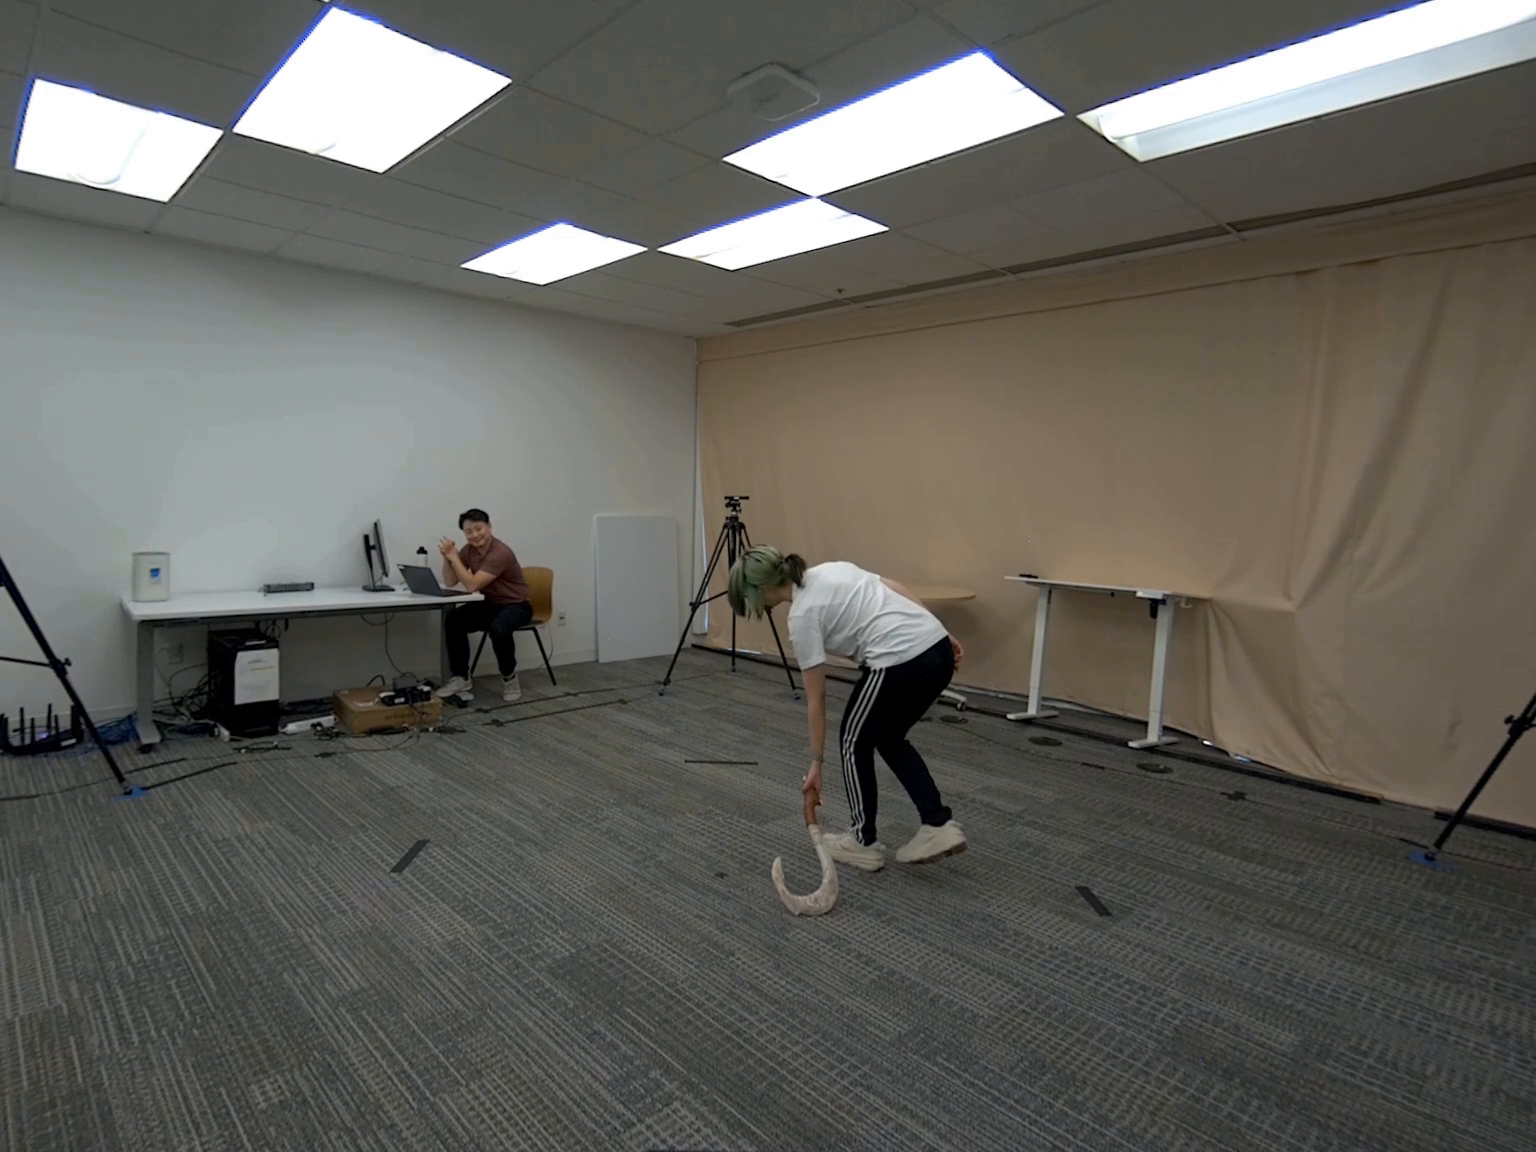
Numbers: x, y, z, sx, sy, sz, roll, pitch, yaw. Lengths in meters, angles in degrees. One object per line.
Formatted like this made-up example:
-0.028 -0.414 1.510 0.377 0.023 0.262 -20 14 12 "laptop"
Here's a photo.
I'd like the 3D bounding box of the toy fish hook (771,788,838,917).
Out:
0.112 0.936 2.975 0.223 0.518 0.047 2 -42 -7 "toy fish hook"
